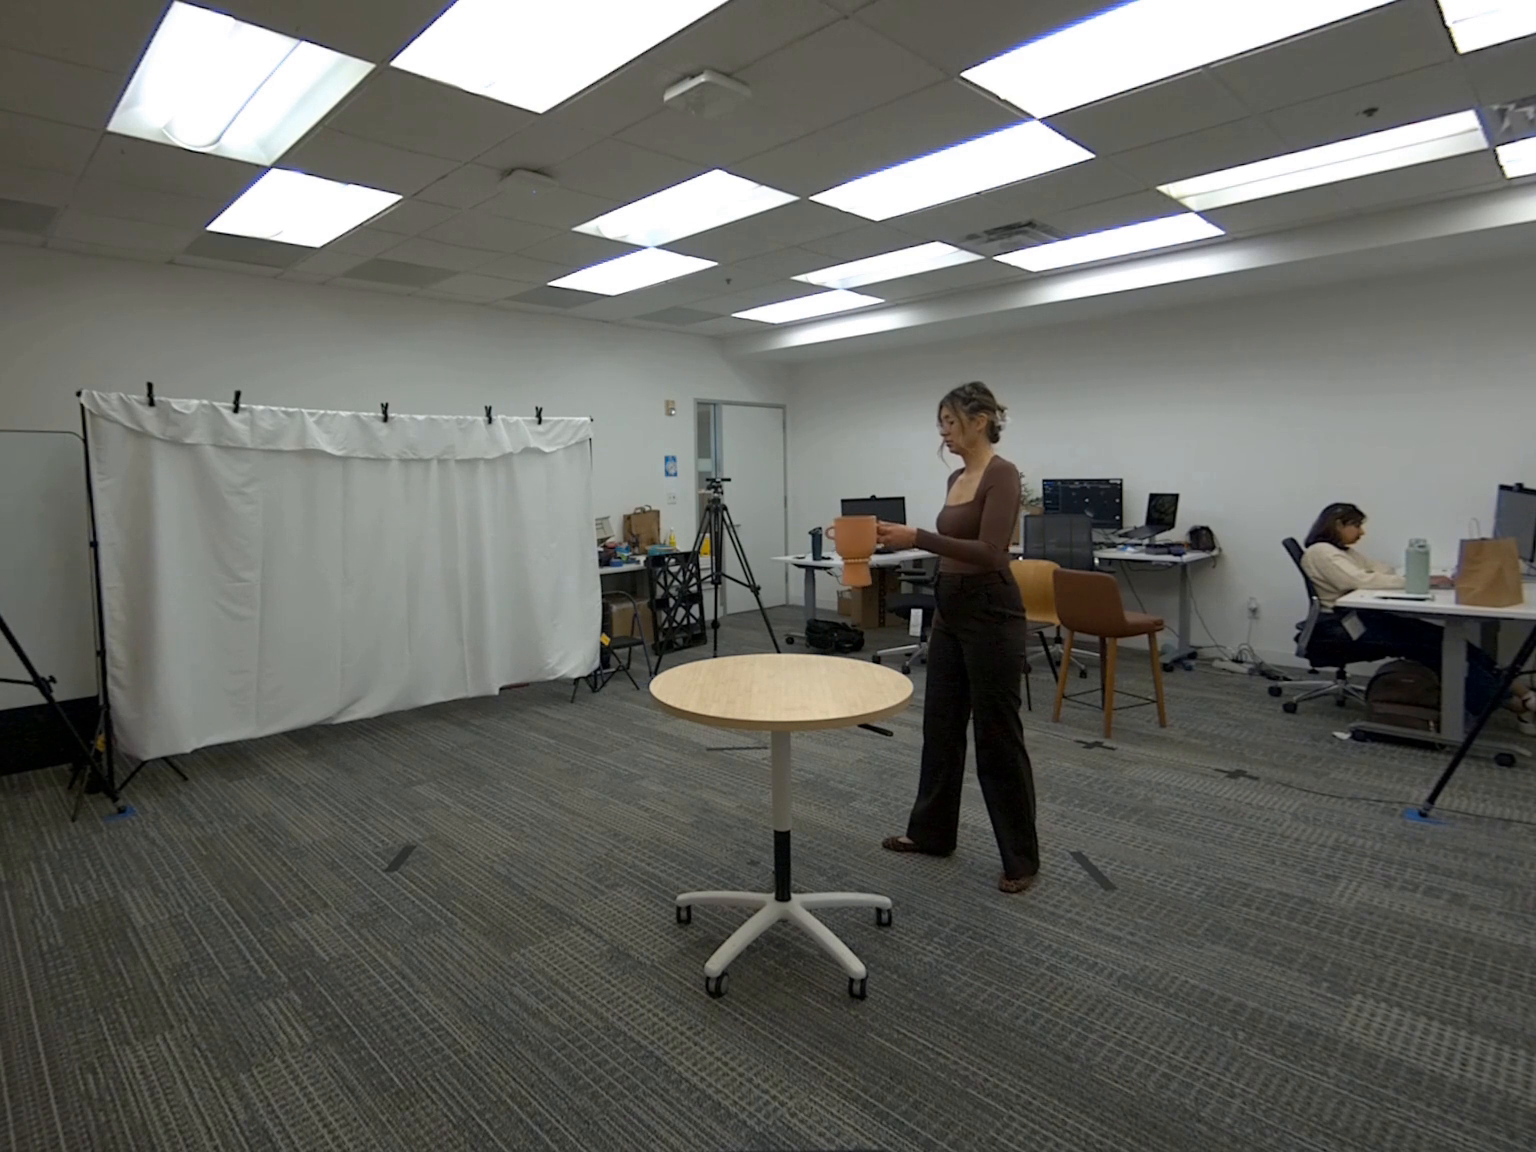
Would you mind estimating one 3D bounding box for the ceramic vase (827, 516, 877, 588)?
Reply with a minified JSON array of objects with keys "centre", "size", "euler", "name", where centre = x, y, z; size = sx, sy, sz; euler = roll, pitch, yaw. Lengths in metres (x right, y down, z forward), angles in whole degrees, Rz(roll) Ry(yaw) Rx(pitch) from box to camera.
[{"centre":[0.297,-0.084,2.757],"size":[0.163,0.219,0.131],"euler":[0,4,35],"name":"ceramic vase"}]
